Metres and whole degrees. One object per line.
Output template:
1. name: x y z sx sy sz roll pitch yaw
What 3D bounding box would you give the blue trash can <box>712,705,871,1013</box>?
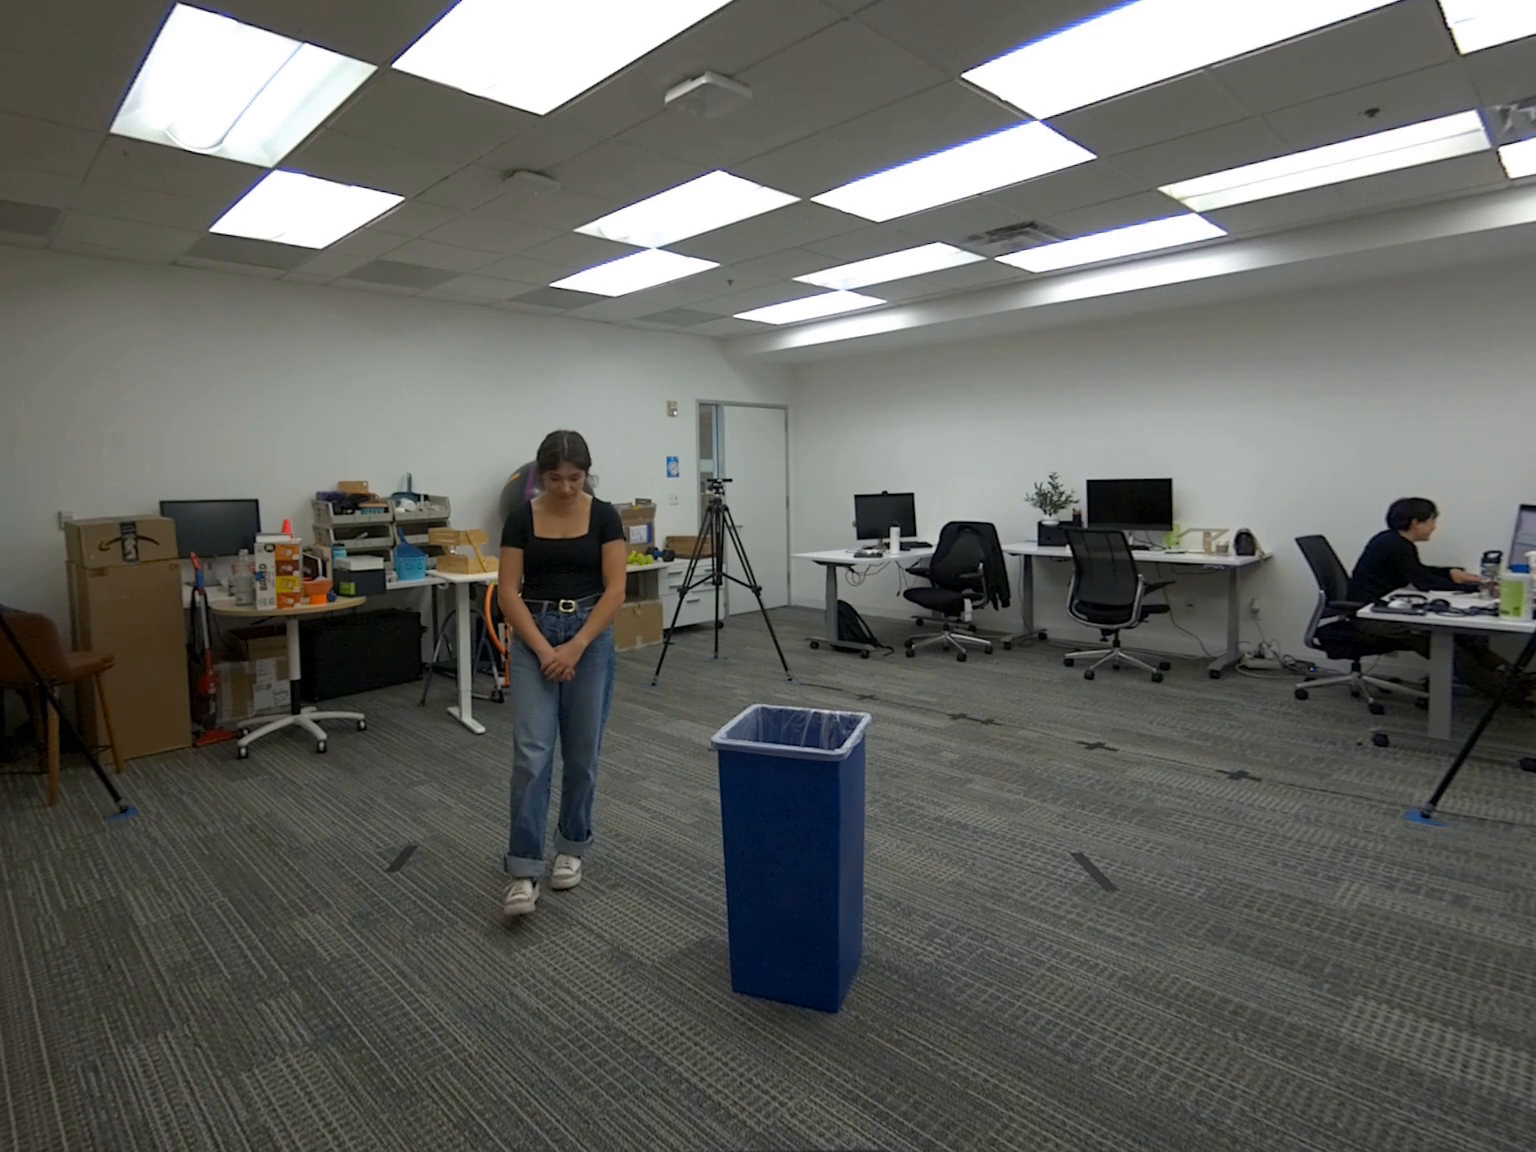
1. blue trash can: 0.085 0.770 2.384 0.385 0.711 0.368 0 4 20
